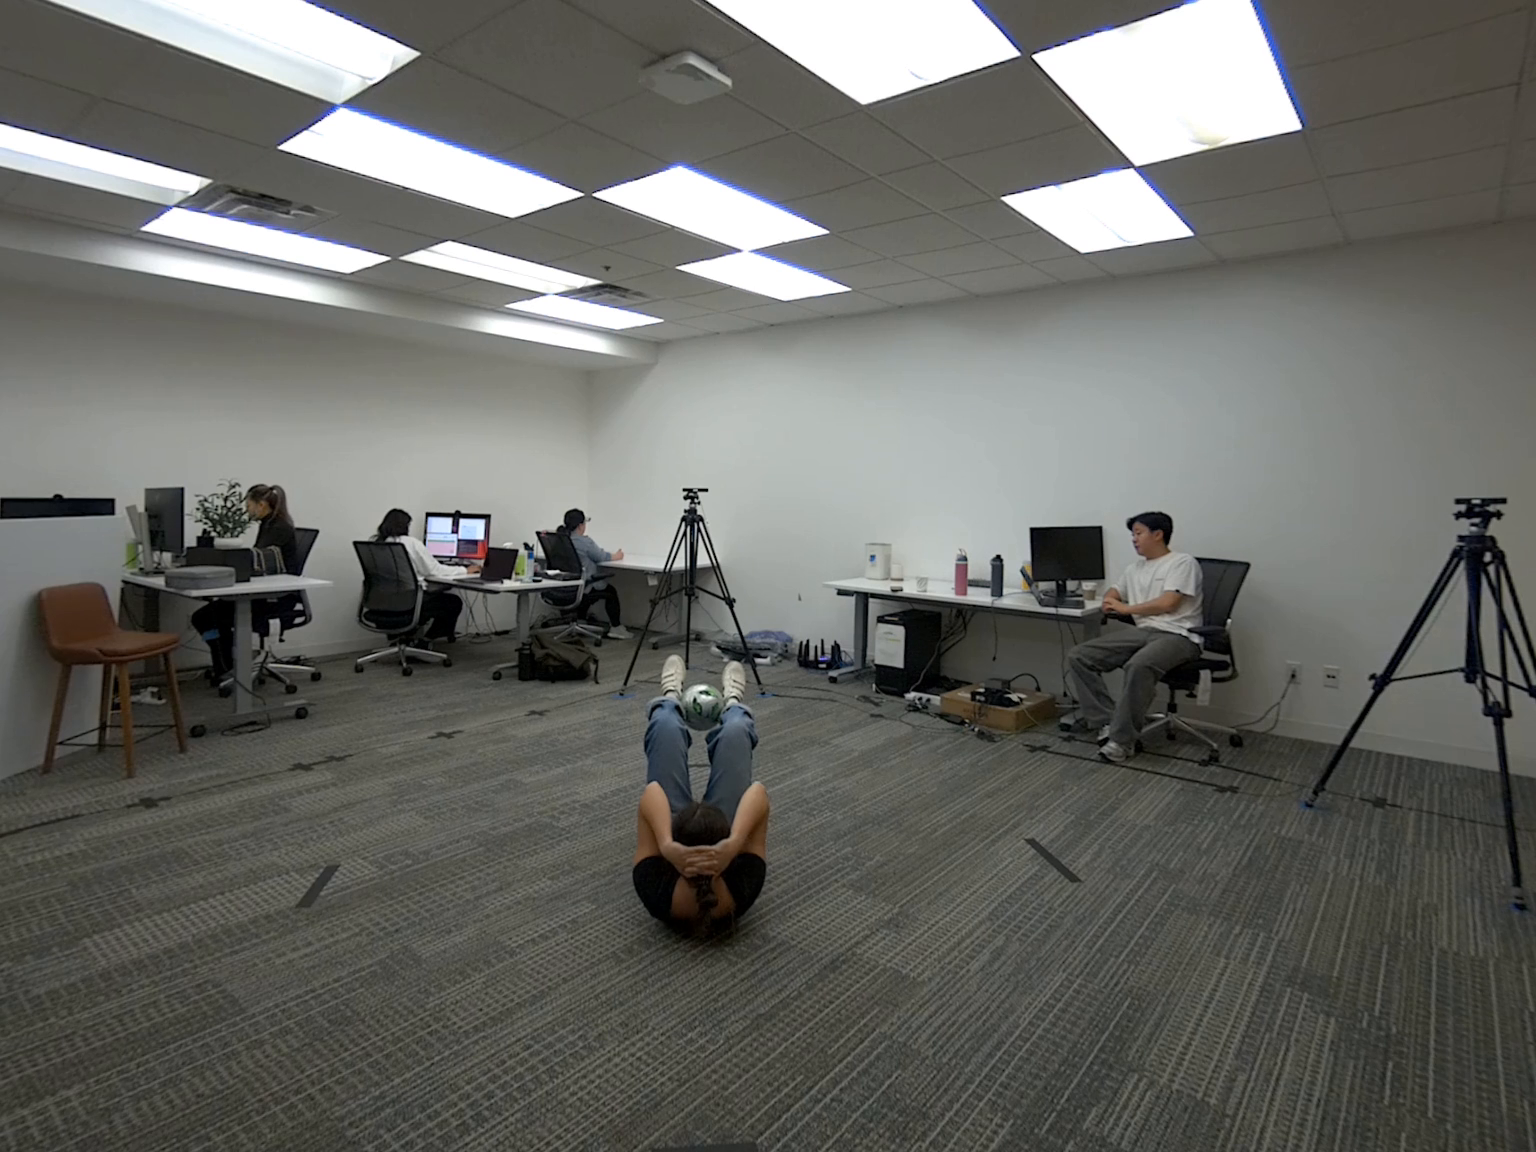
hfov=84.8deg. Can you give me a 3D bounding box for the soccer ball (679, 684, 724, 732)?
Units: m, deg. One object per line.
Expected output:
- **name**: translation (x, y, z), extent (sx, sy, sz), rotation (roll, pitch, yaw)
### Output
- **soccer ball**: translation (-0.275, 0.523, 3.427), extent (0.187, 0.187, 0.188), rotation (-3, 4, -2)
